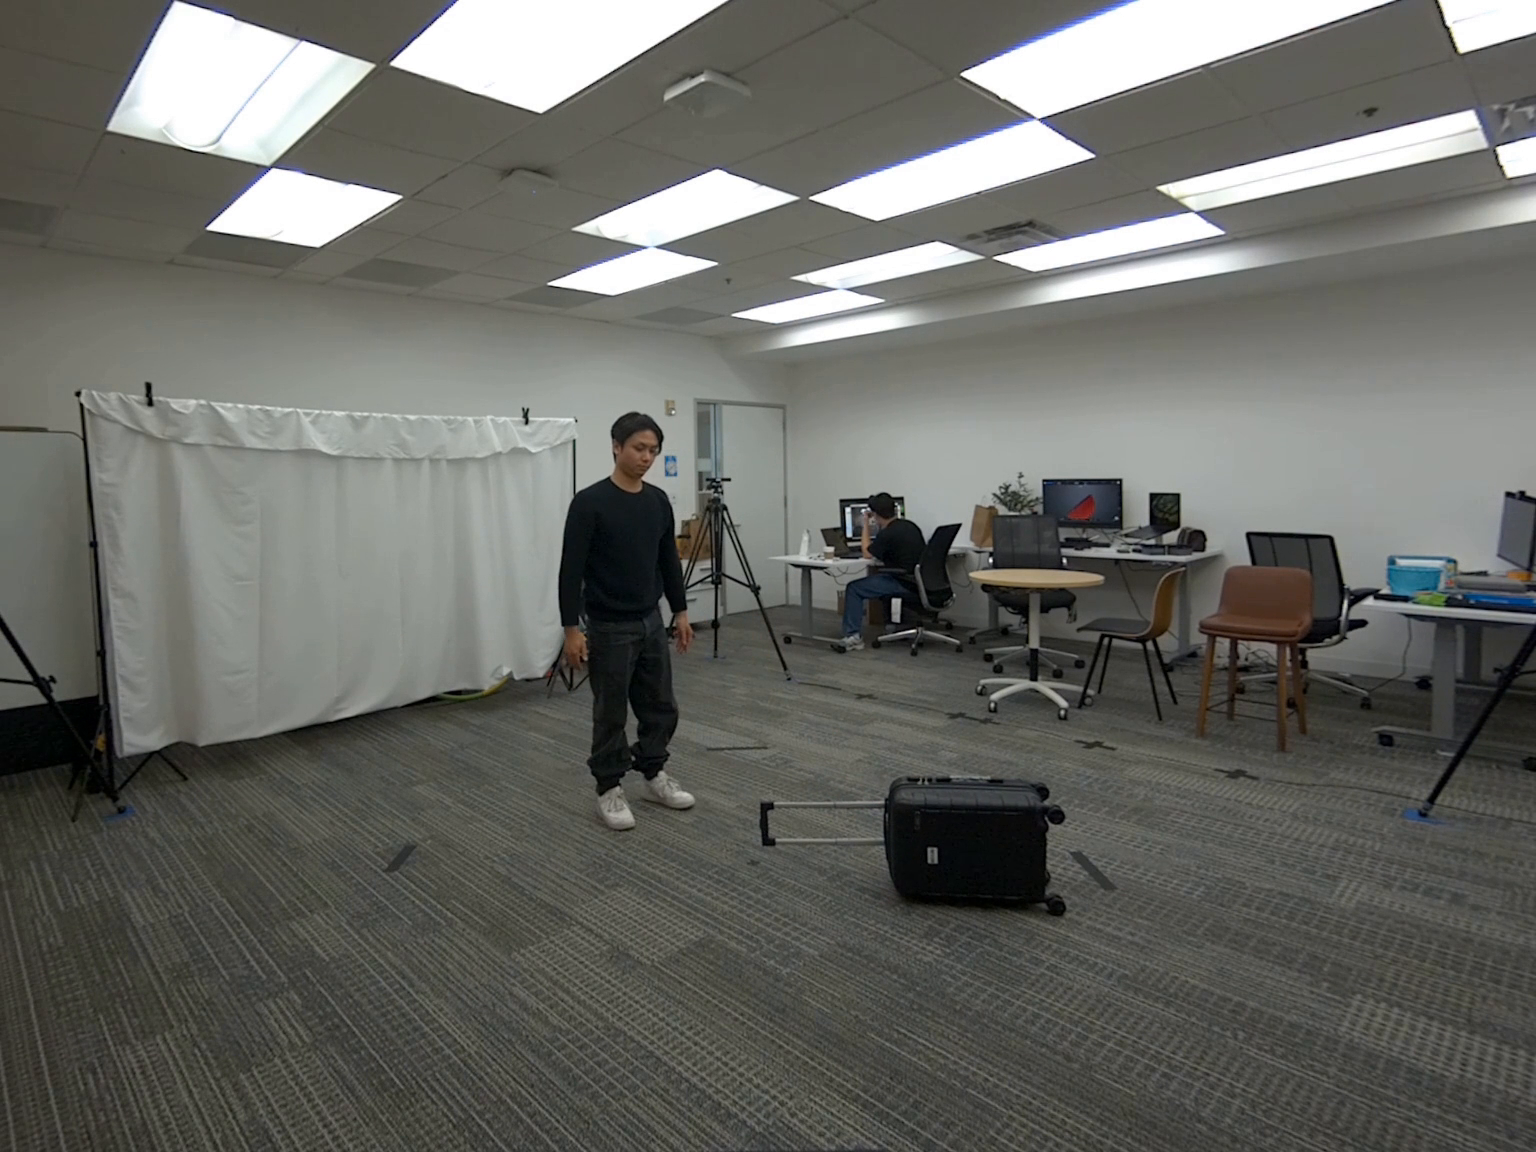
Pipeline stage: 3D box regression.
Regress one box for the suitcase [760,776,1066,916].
[{"bbox_3d":[0.461,0.872,2.864,0.985,0.383,0.256,-1,4,7],"label":"suitcase"}]
